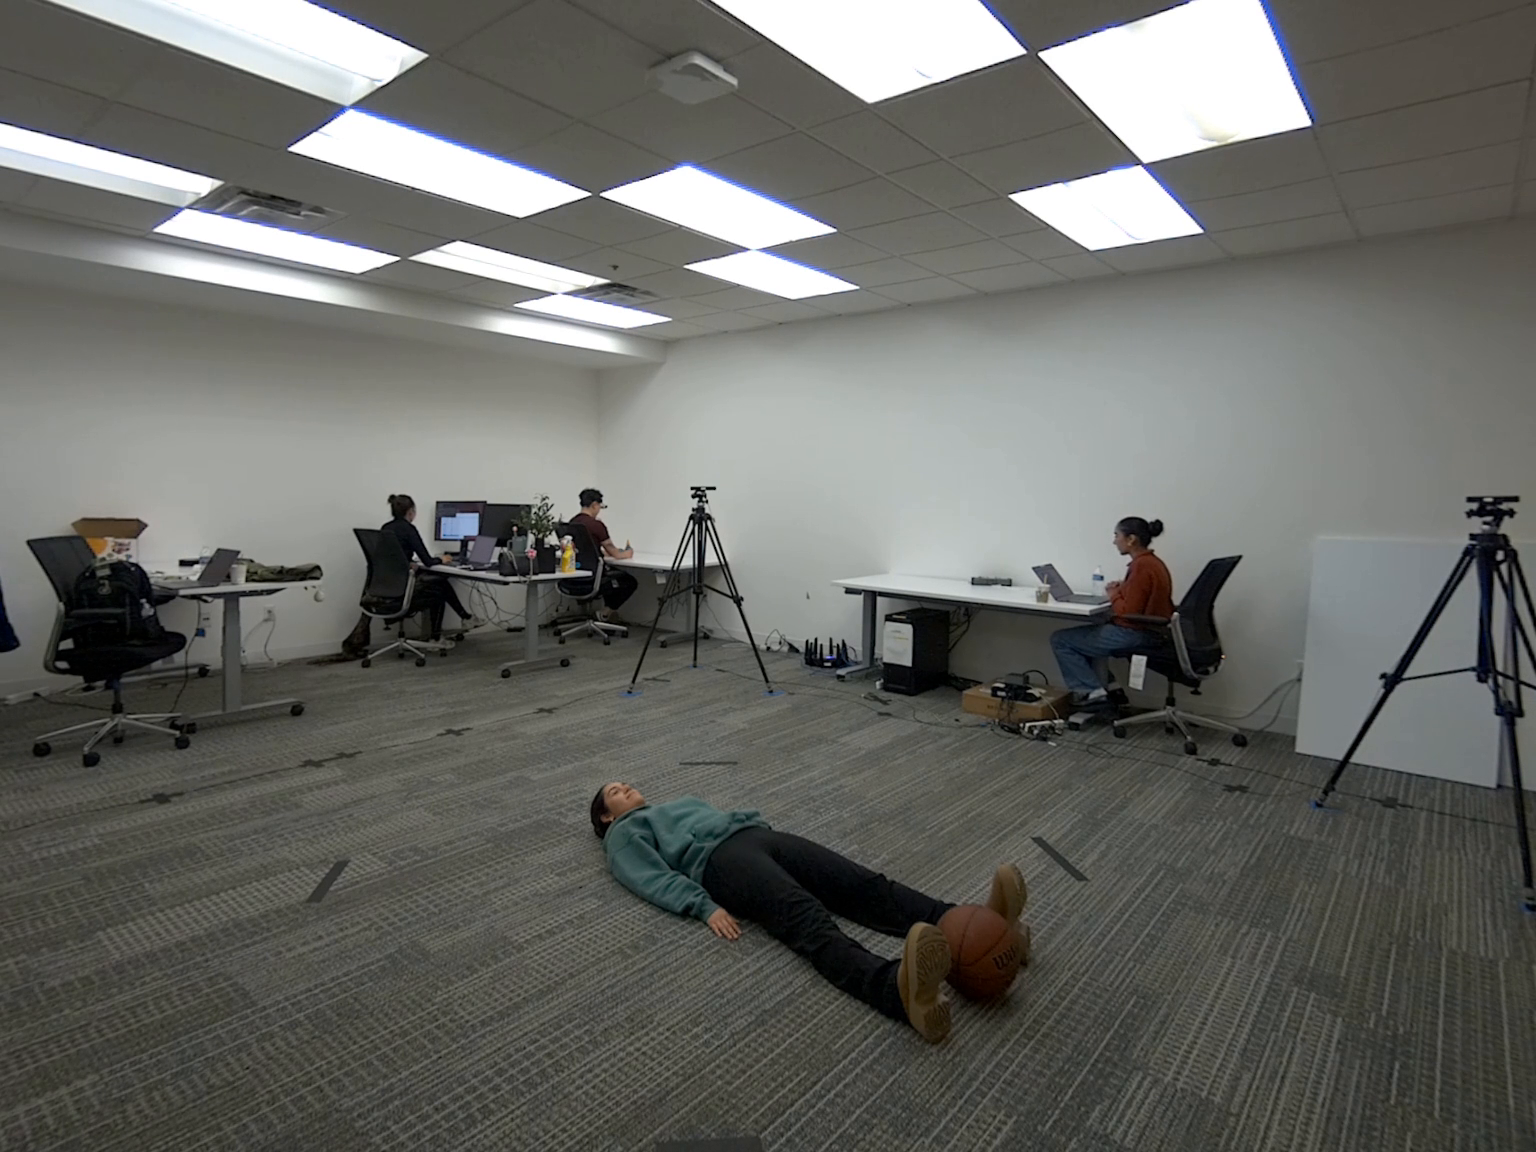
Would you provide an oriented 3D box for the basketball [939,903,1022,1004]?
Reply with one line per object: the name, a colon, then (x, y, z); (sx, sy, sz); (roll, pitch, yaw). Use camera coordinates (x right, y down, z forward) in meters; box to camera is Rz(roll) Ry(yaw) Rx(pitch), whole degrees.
basketball: (0.573, 1.037, 2.377); (0.236, 0.235, 0.237); (0, 4, -2)
